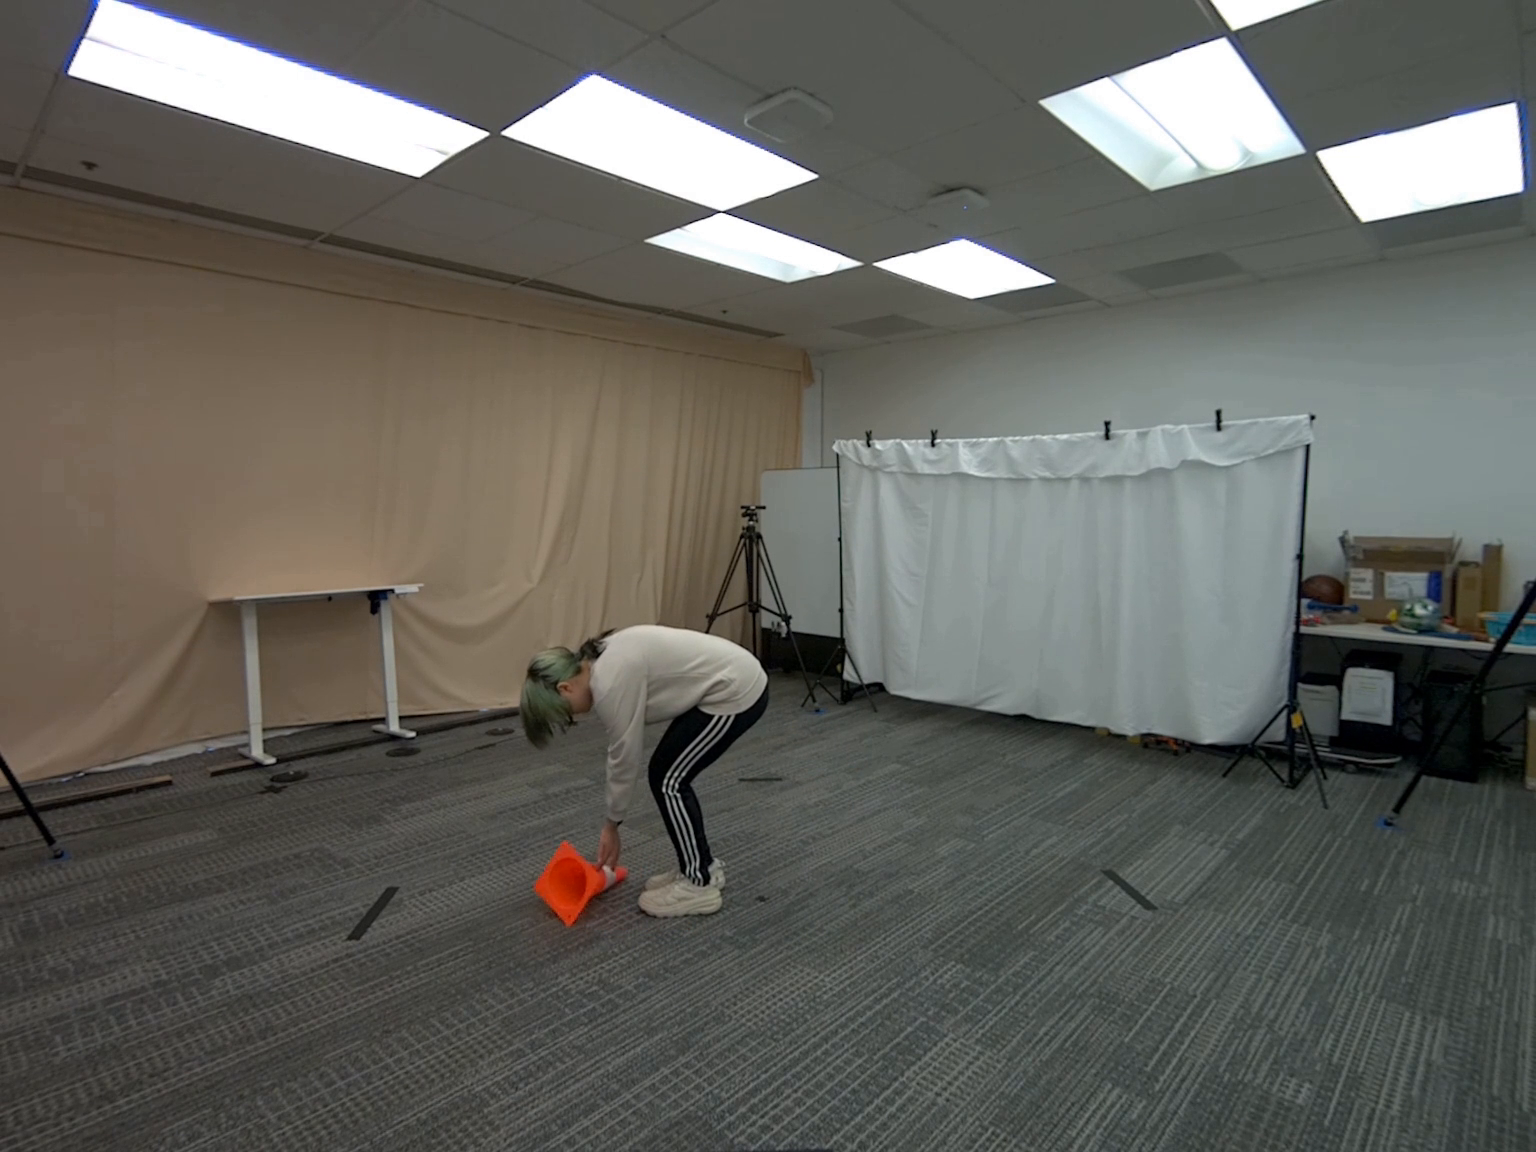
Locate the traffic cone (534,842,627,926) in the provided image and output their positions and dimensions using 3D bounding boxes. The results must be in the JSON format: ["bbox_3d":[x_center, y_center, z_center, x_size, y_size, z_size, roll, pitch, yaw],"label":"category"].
[{"bbox_3d":[-0.611,1.090,3.014,0.211,0.203,0.372,34,2,27],"label":"traffic cone"}]
